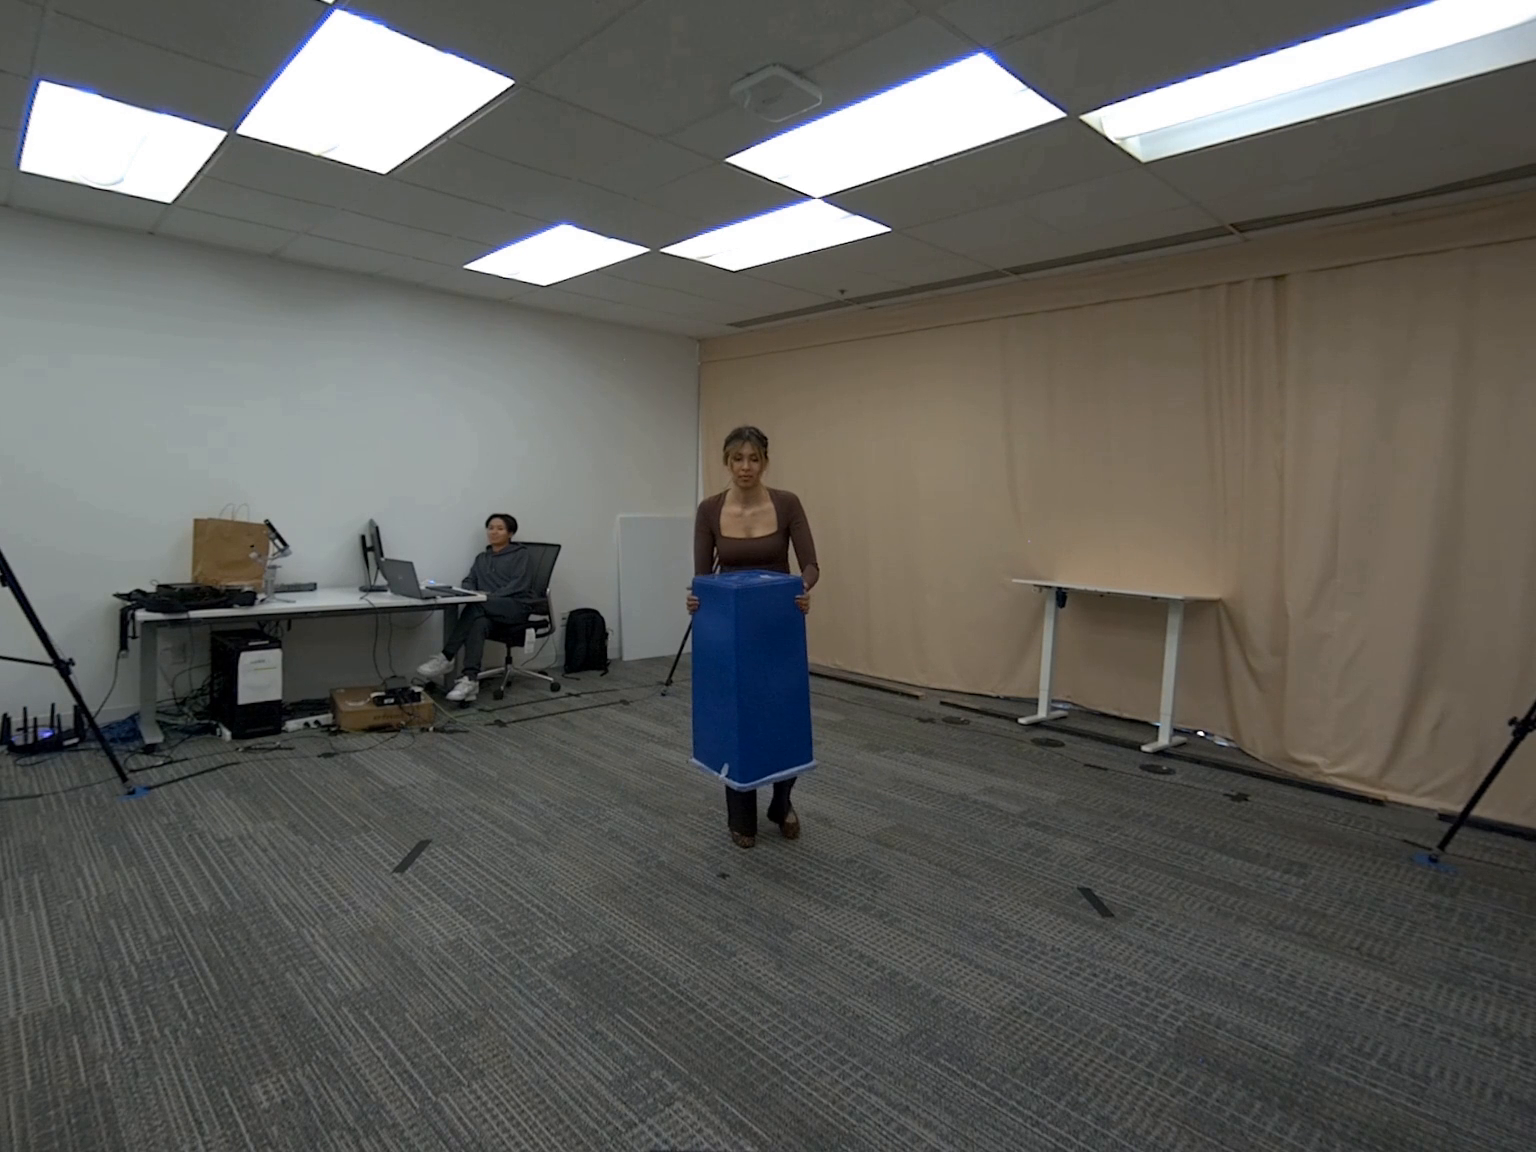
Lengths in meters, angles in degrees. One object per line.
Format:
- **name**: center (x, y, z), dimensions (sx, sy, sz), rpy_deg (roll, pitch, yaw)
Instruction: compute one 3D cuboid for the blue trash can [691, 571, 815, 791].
- **blue trash can**: center (-0.071, 0.366, 3.111), dimensions (0.367, 0.710, 0.387), rpy_deg (-5, 8, -33)
